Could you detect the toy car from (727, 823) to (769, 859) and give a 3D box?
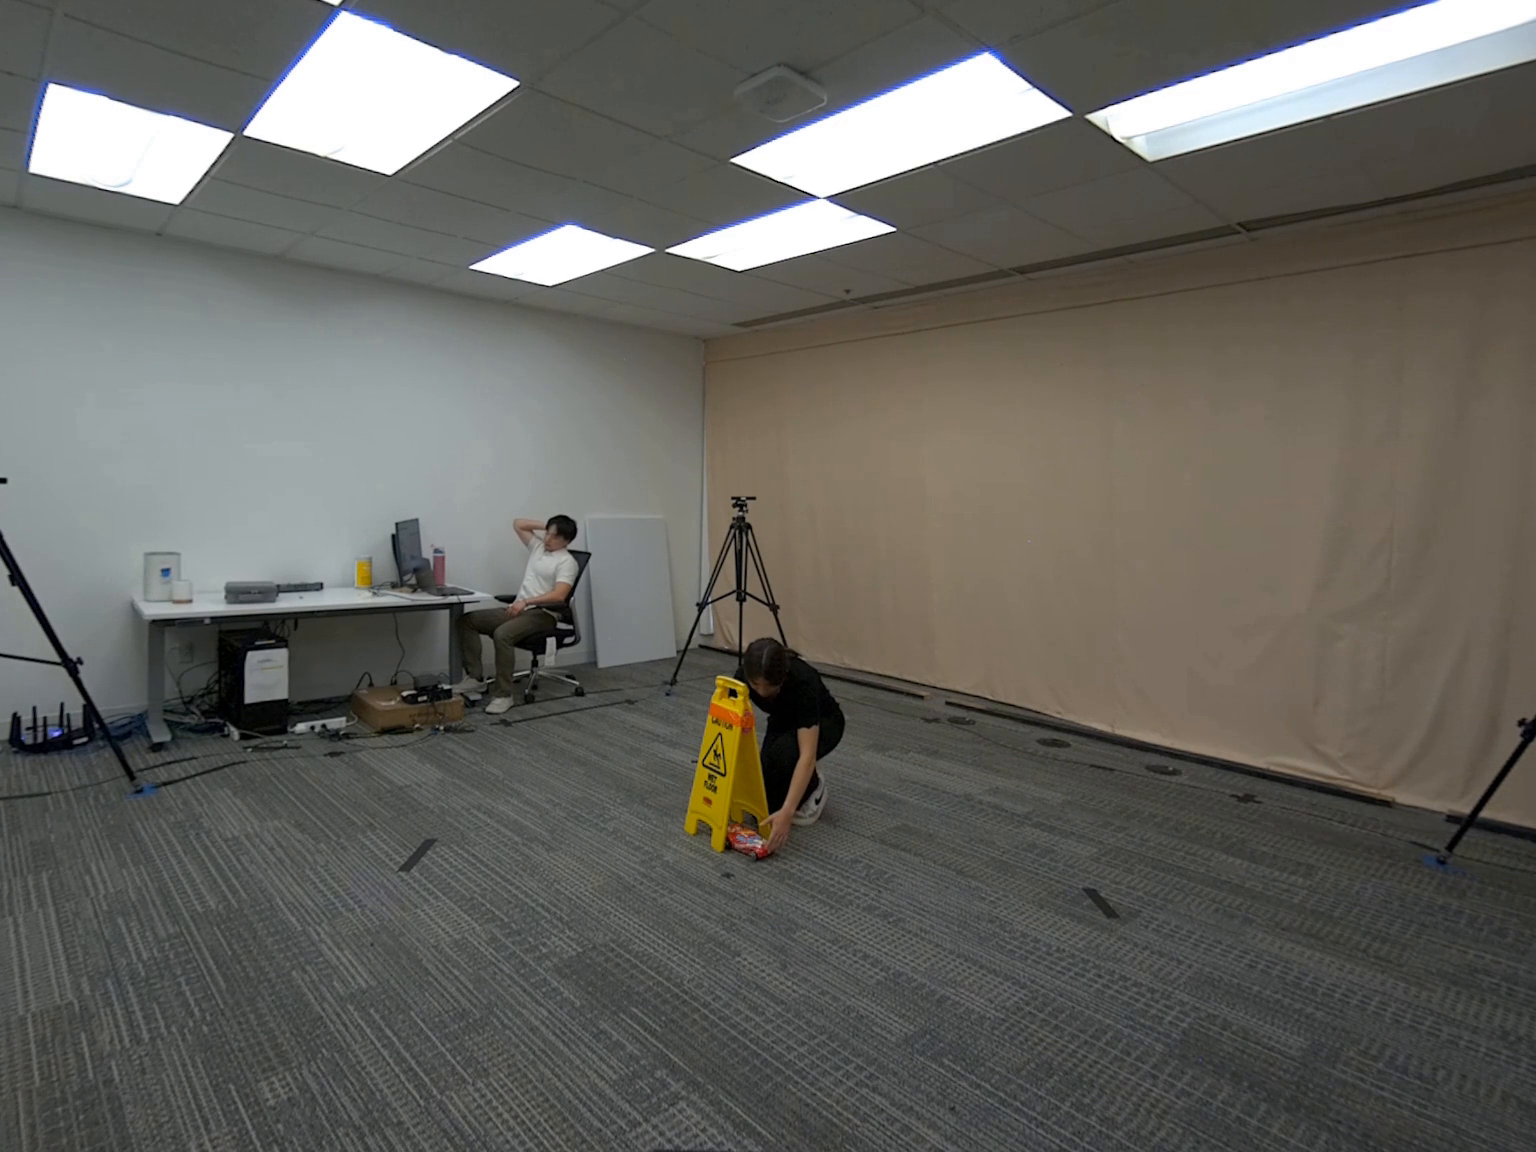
[{"bbox_3d":[-0.105,1.060,3.345,0.127,0.082,0.262,-3,18,-42],"label":"toy car"}]
